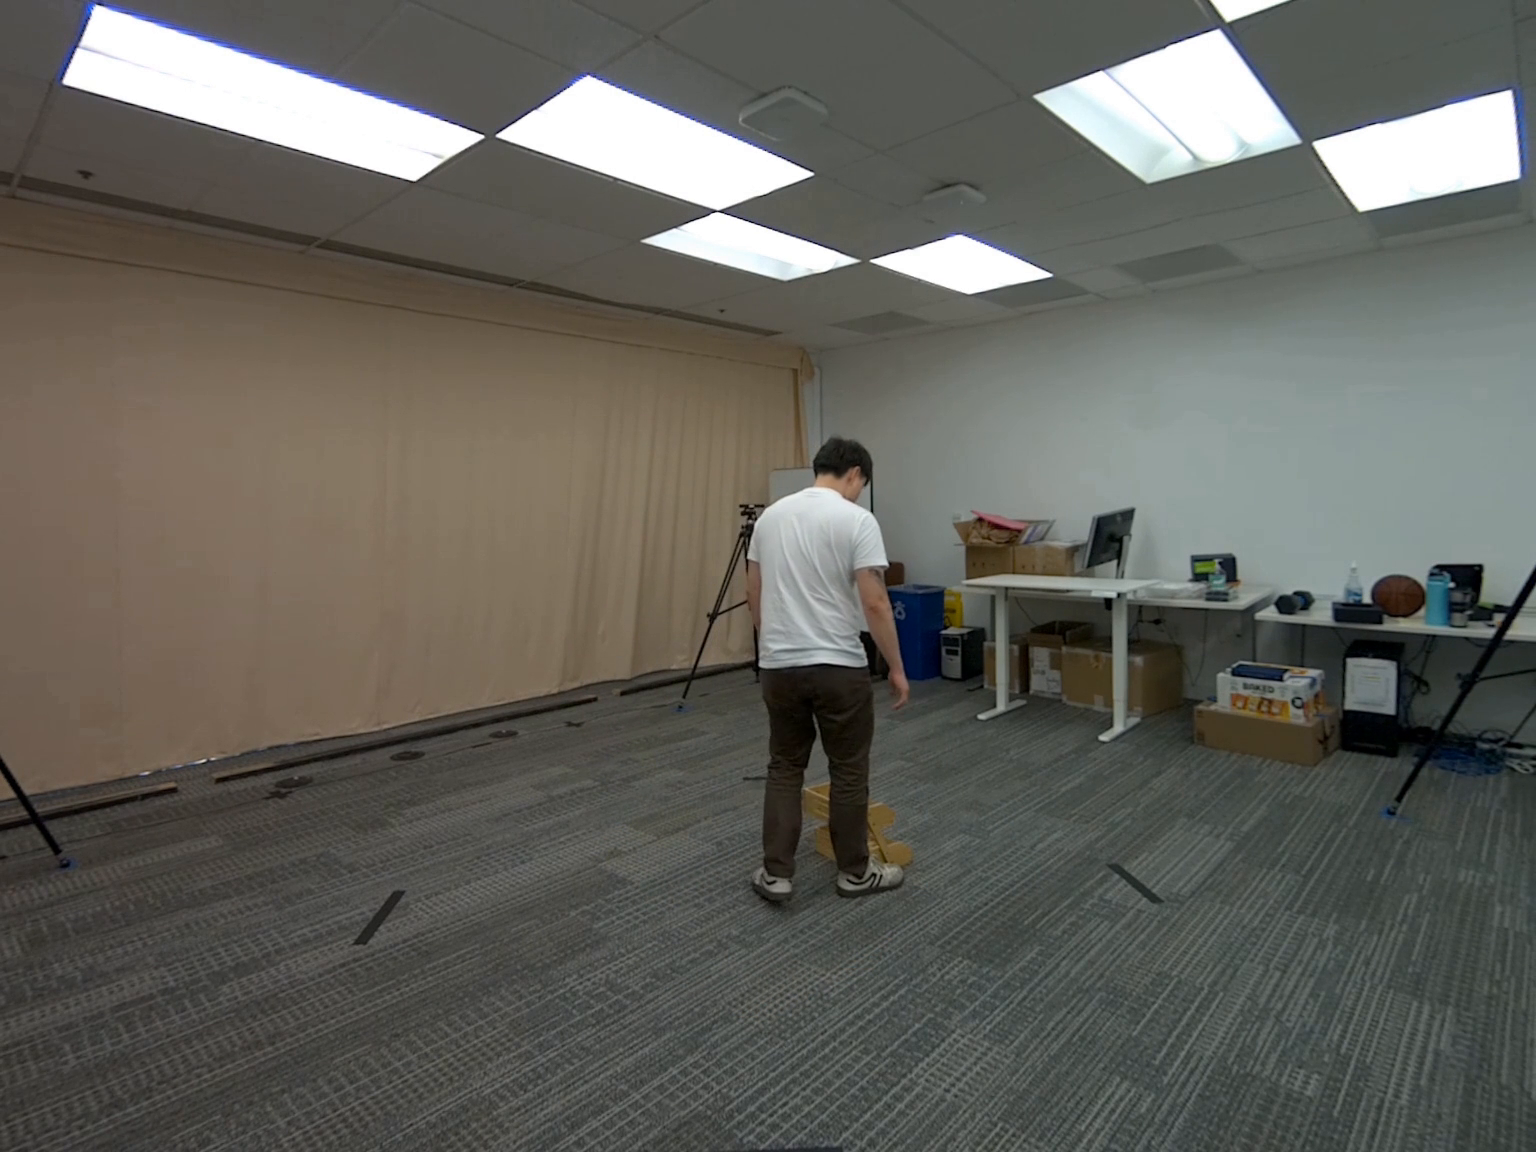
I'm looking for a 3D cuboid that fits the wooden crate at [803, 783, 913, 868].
[{"bbox_3d":[0.360,0.973,3.302,0.293,0.273,0.334,-3,5,-34],"label":"wooden crate"}]
